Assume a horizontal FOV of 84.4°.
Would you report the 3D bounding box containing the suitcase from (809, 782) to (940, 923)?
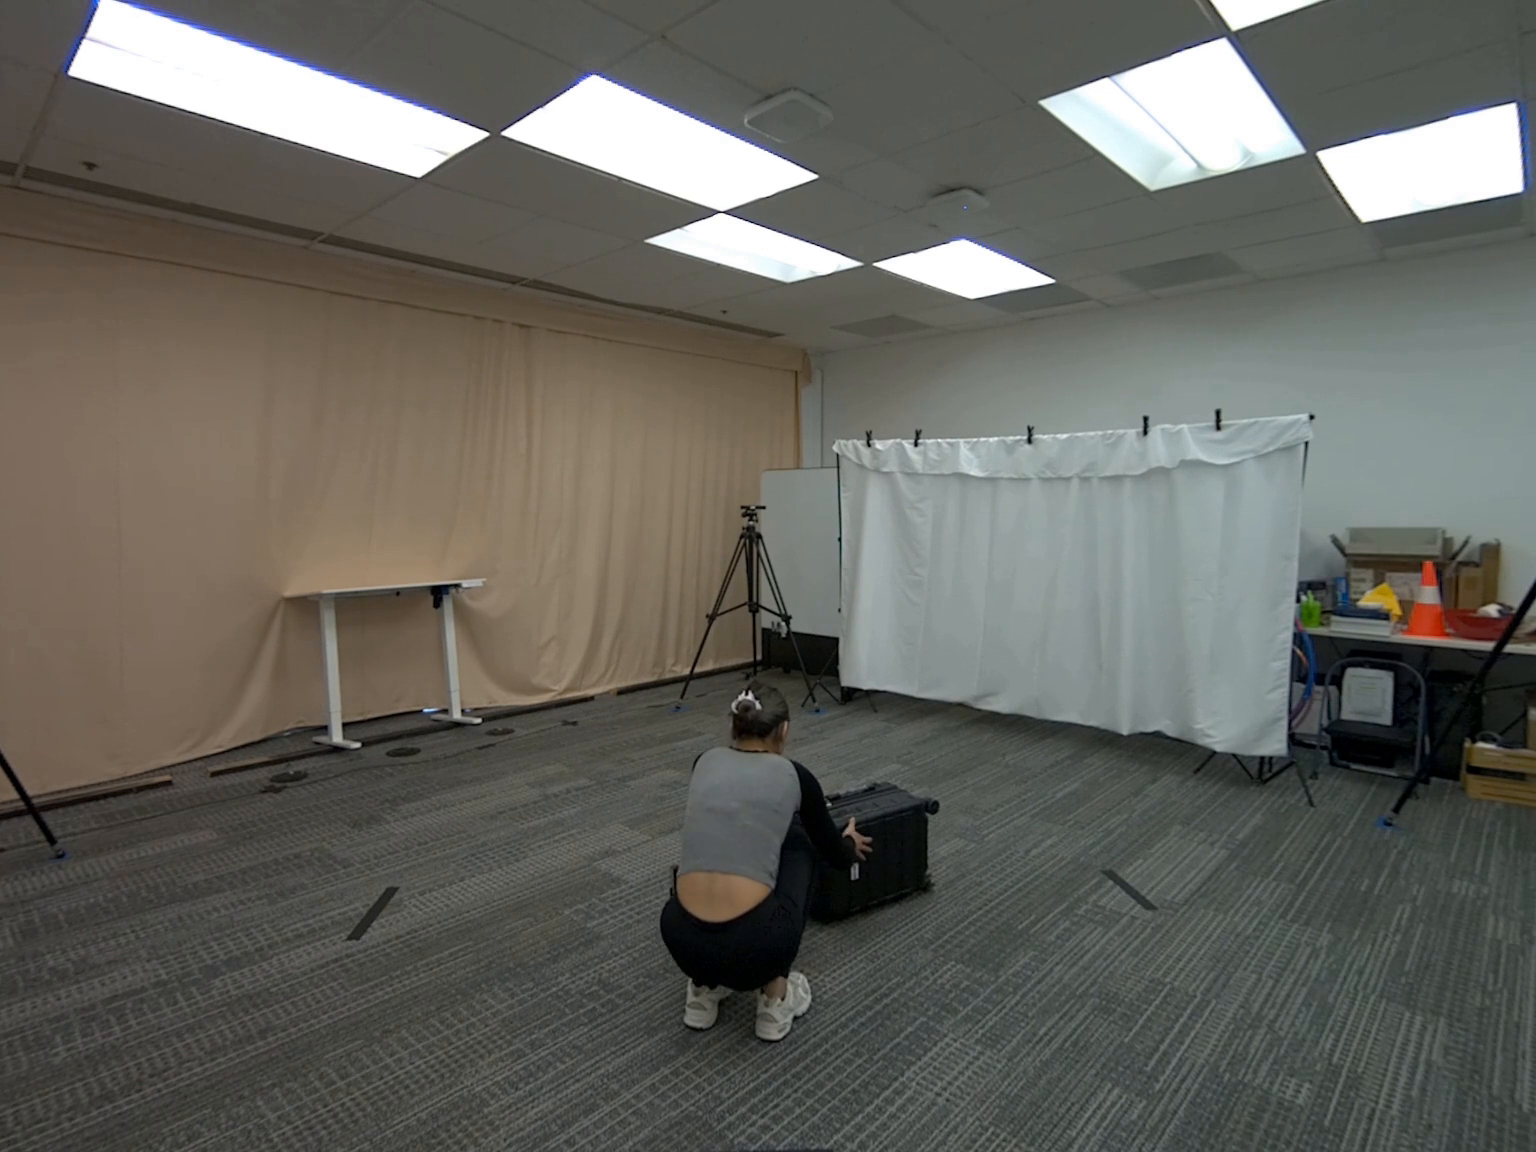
[{"bbox_3d":[0.161,0.971,2.855,0.951,0.383,0.265,-3,3,-34],"label":"suitcase"}]
